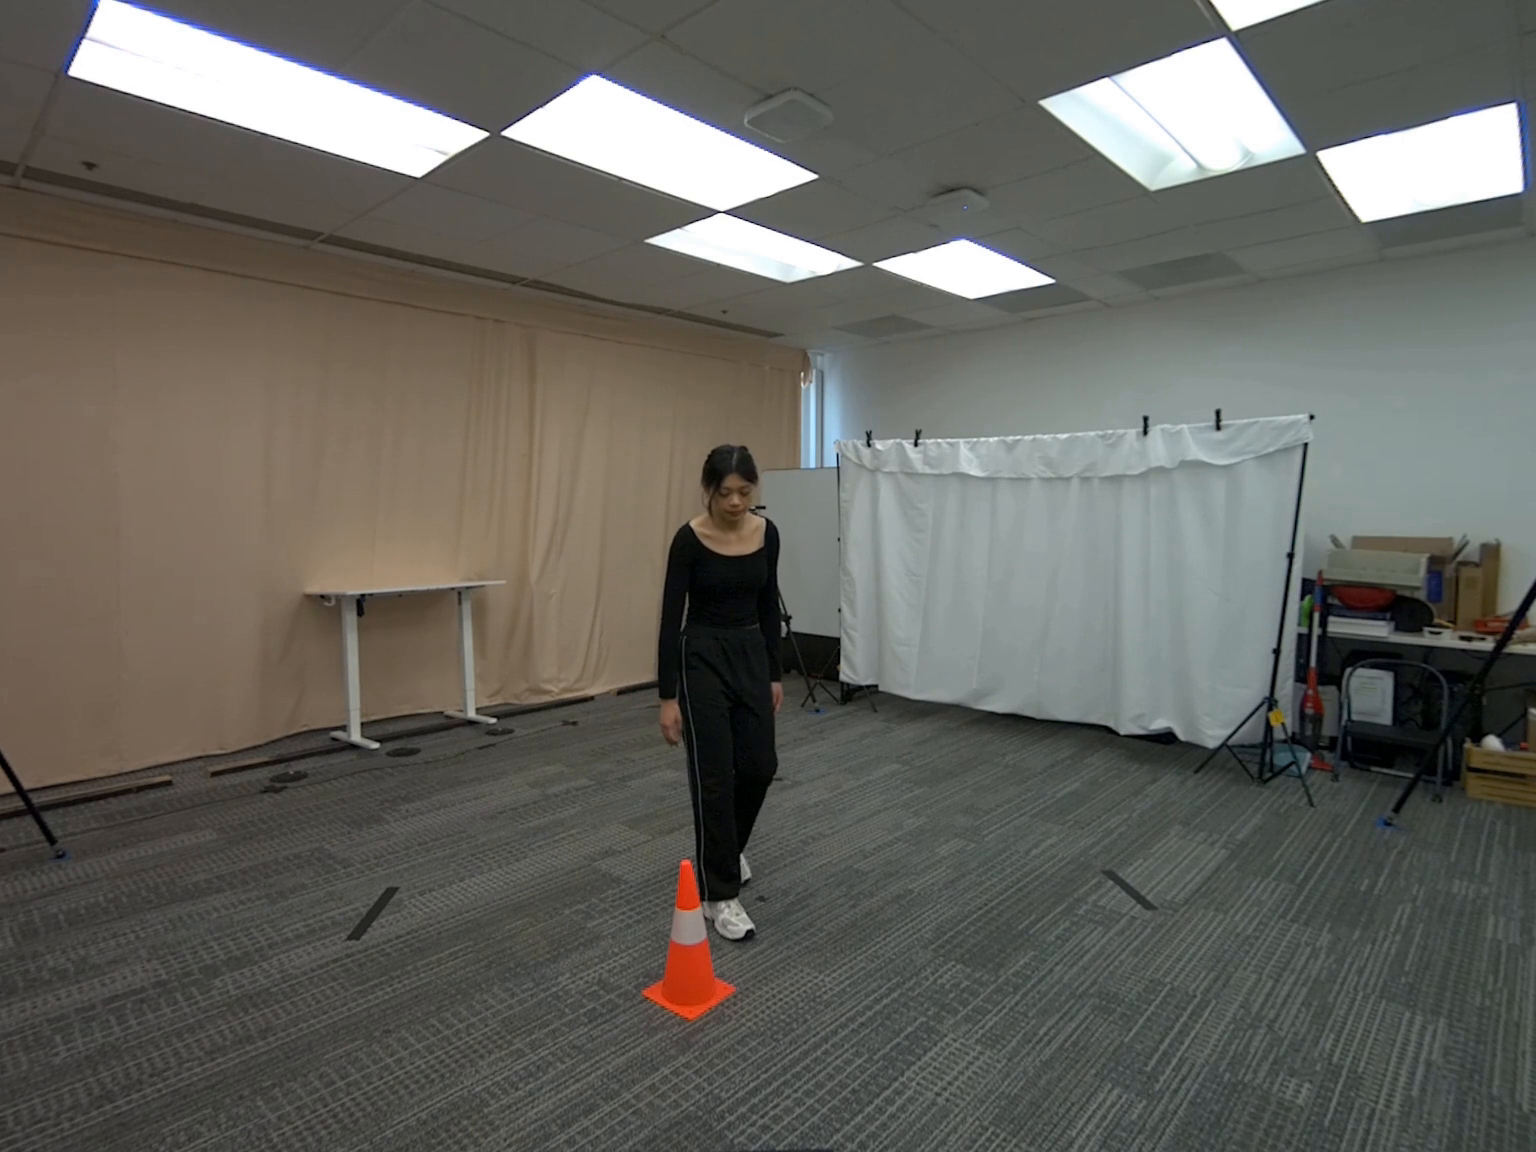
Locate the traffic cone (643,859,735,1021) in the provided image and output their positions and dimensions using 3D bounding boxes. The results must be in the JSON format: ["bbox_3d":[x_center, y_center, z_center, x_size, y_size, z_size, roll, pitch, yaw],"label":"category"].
[{"bbox_3d":[-0.226,1.003,2.410,0.211,0.383,0.197,1,2,40],"label":"traffic cone"}]
